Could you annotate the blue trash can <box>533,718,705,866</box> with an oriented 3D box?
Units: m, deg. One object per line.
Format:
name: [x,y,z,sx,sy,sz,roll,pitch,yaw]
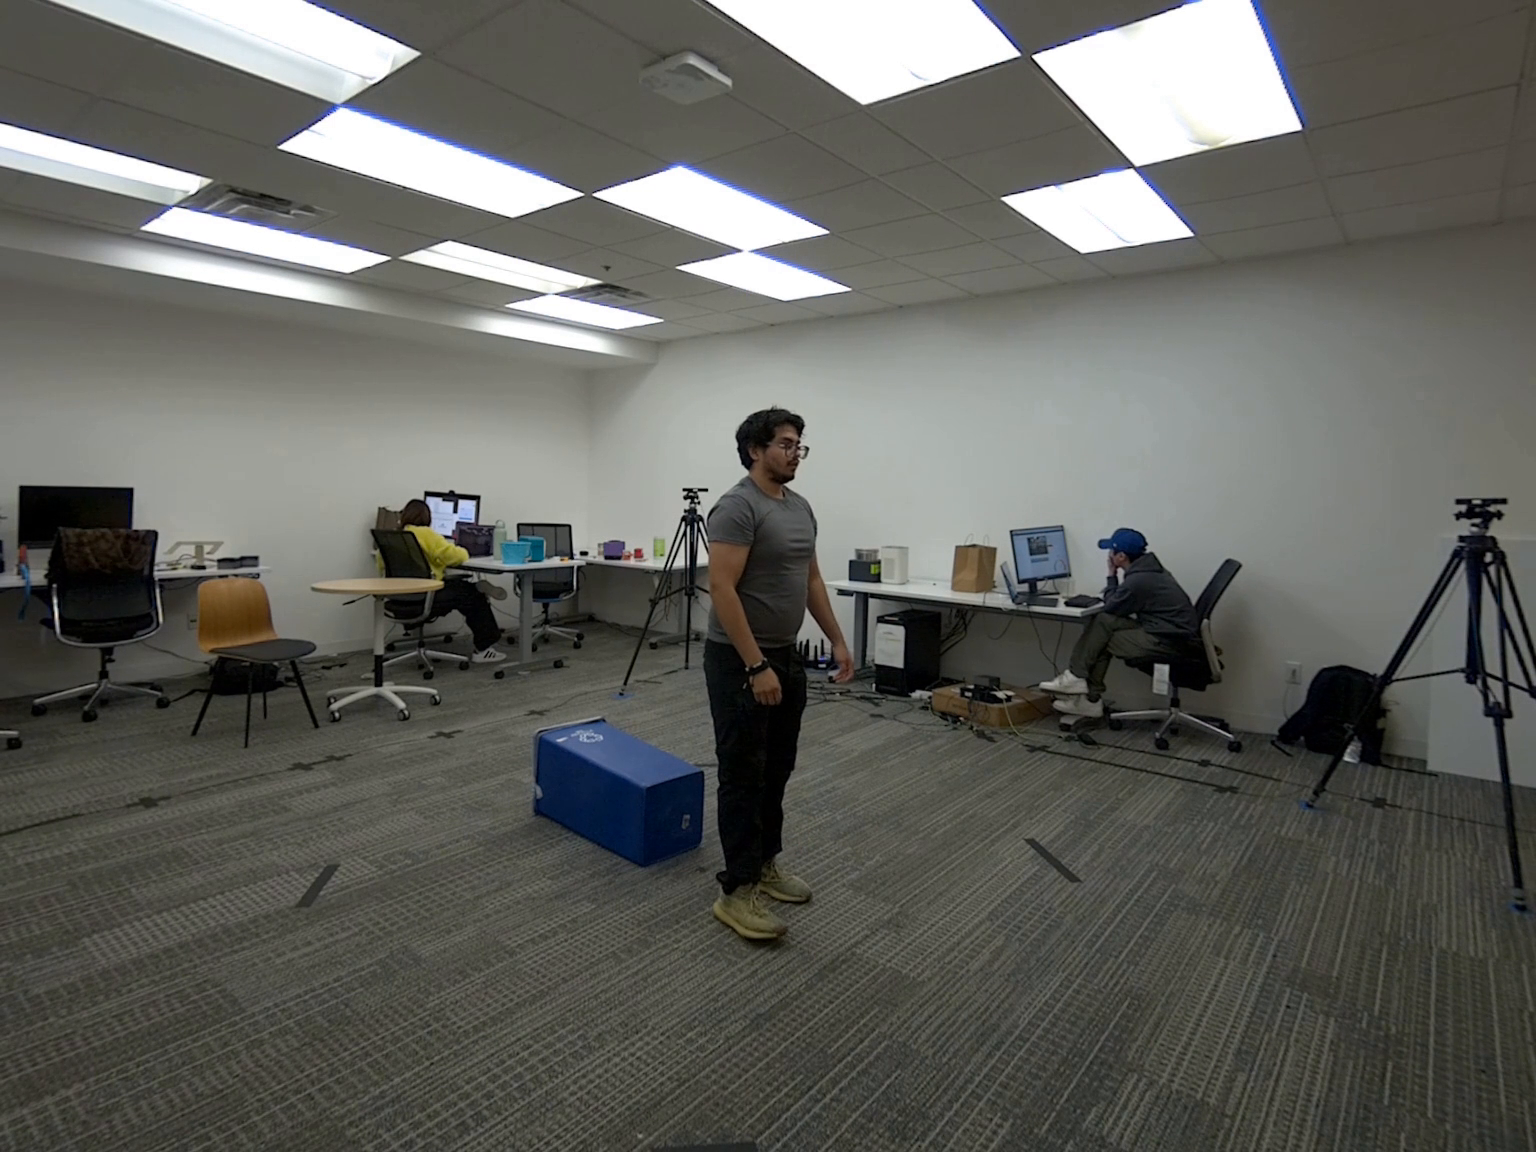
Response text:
blue trash can: [-0.622,0.851,3.453,0.739,0.372,0.366,8,8,44]
